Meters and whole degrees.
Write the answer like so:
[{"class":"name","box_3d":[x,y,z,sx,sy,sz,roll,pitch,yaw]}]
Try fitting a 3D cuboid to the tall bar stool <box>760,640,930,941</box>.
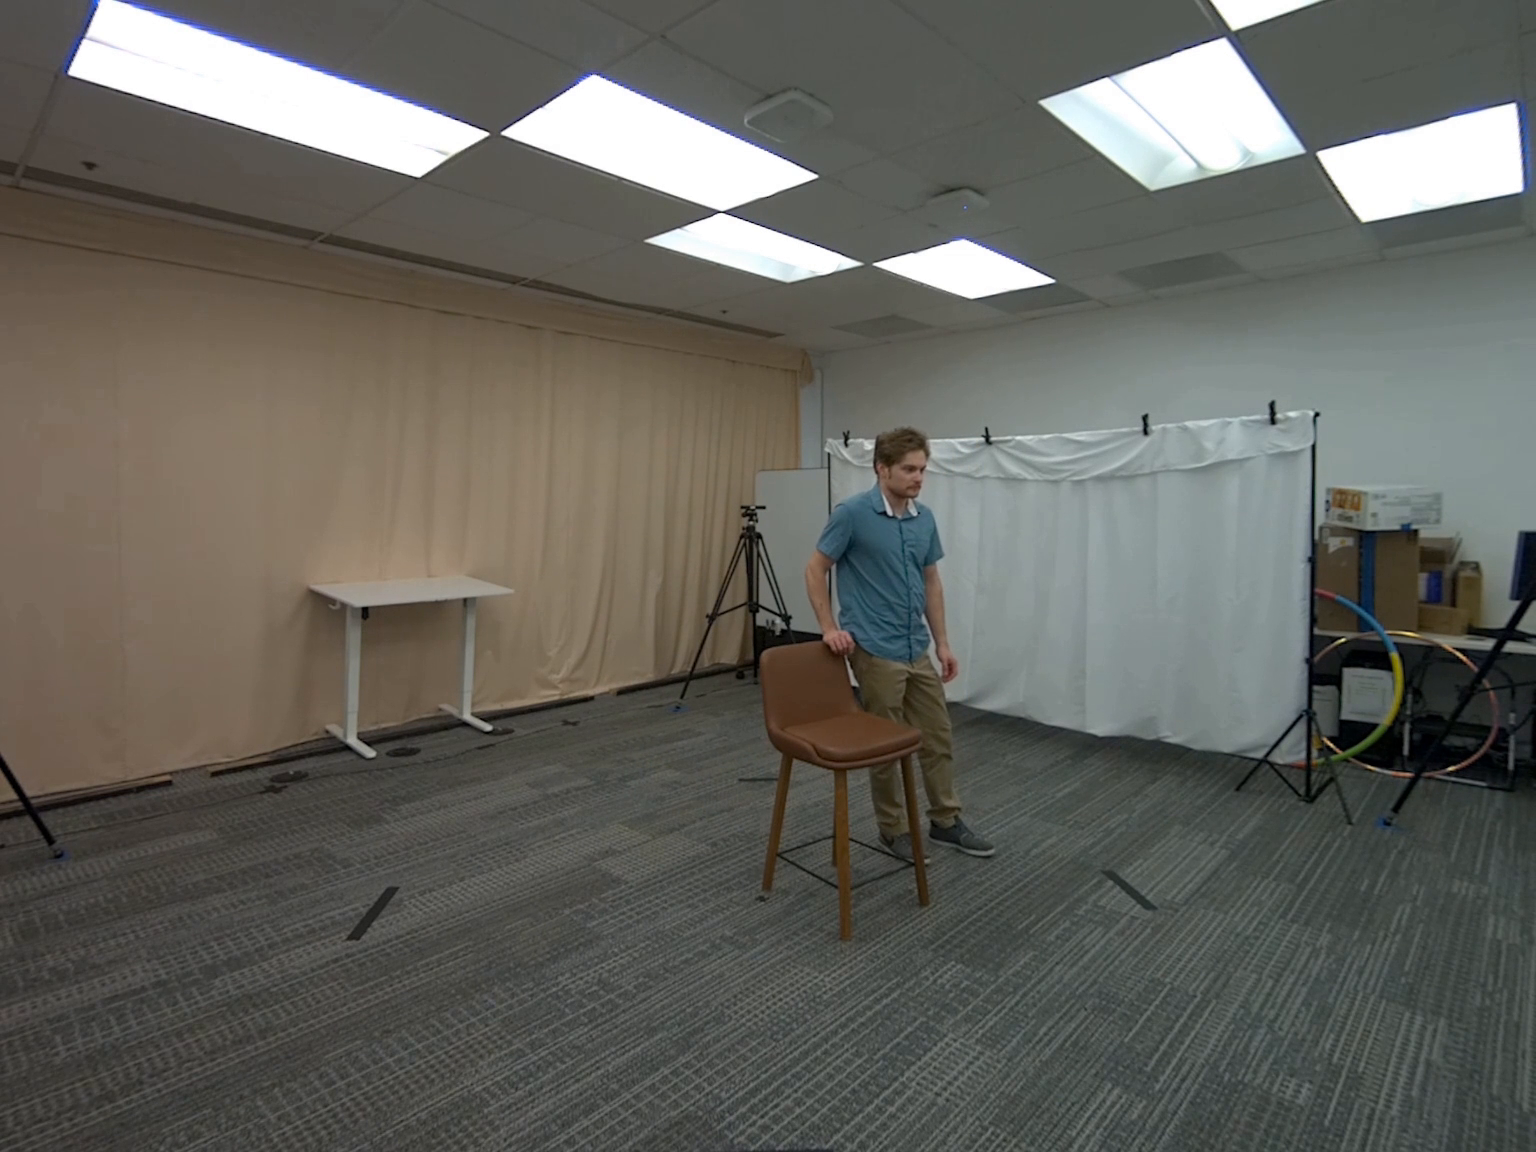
[{"class":"tall bar stool","box_3d":[0.257,0.711,2.967,0.443,0.889,0.482,-3,2,-38]}]
